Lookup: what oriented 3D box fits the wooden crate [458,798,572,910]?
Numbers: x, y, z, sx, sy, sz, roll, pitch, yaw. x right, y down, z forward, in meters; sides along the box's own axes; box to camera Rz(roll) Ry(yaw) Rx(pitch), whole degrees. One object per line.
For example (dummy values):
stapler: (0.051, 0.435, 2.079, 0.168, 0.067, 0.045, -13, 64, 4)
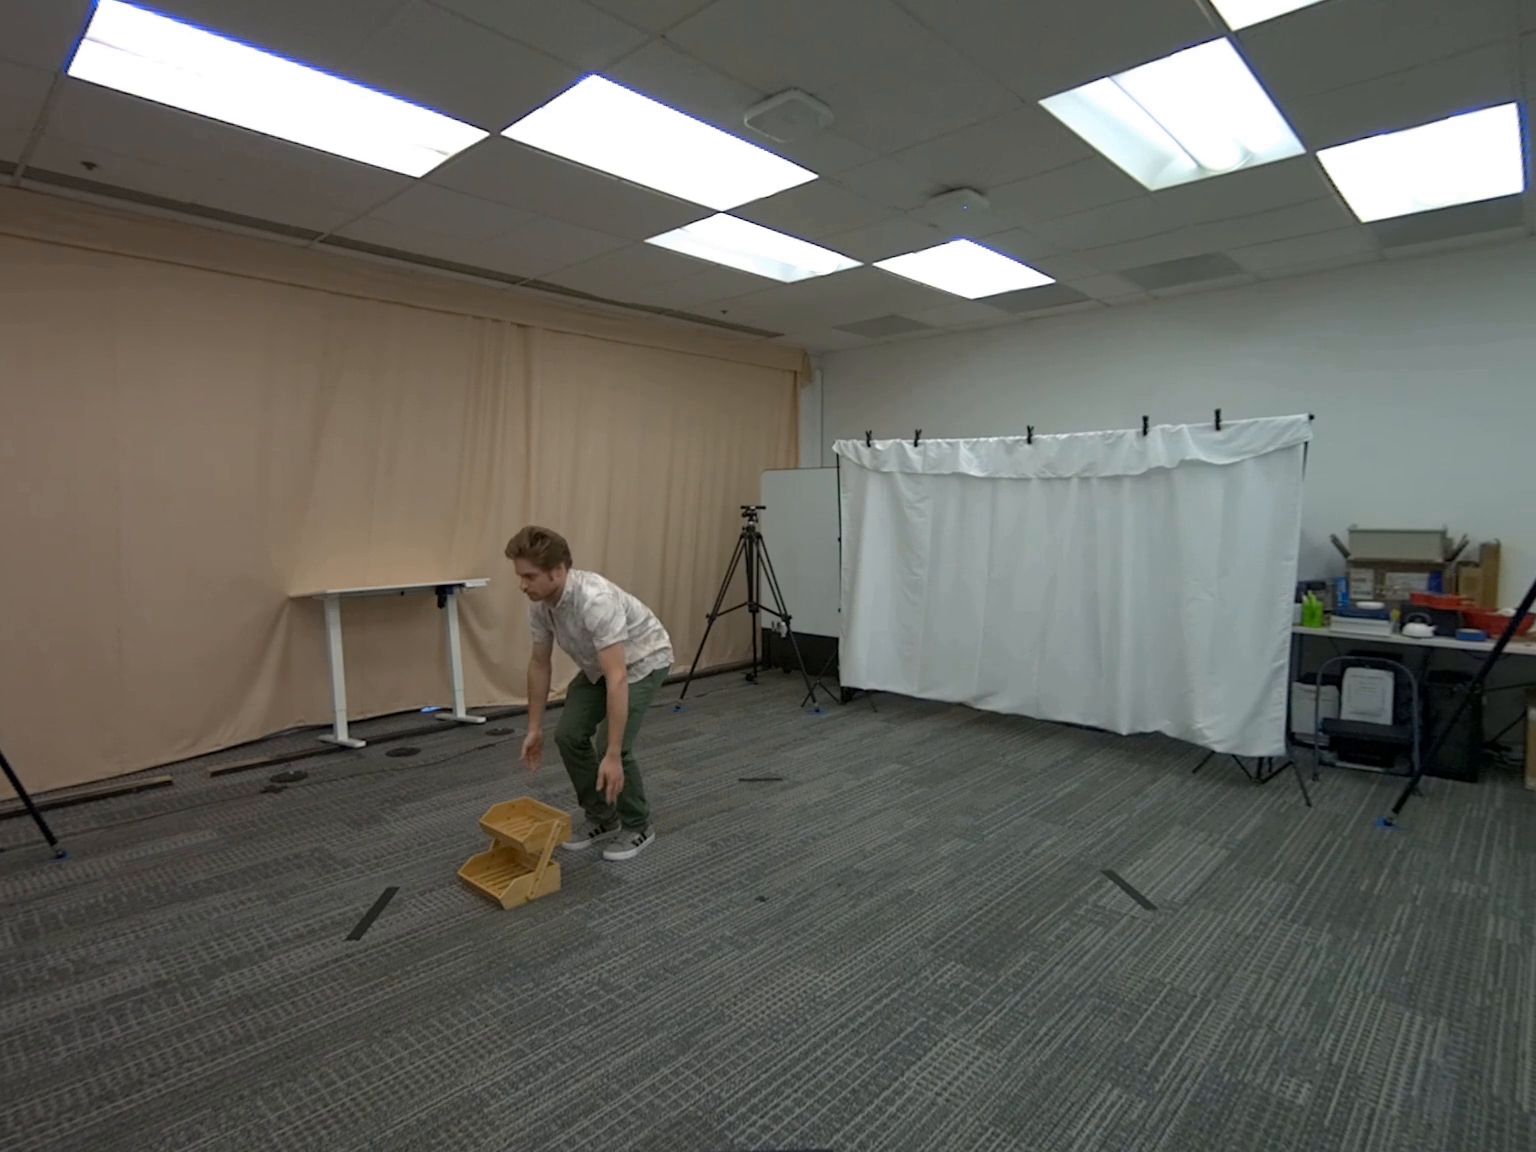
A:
wooden crate: (-0.940, 1.011, 3.106, 0.335, 0.273, 0.292, 3, 4, 43)
